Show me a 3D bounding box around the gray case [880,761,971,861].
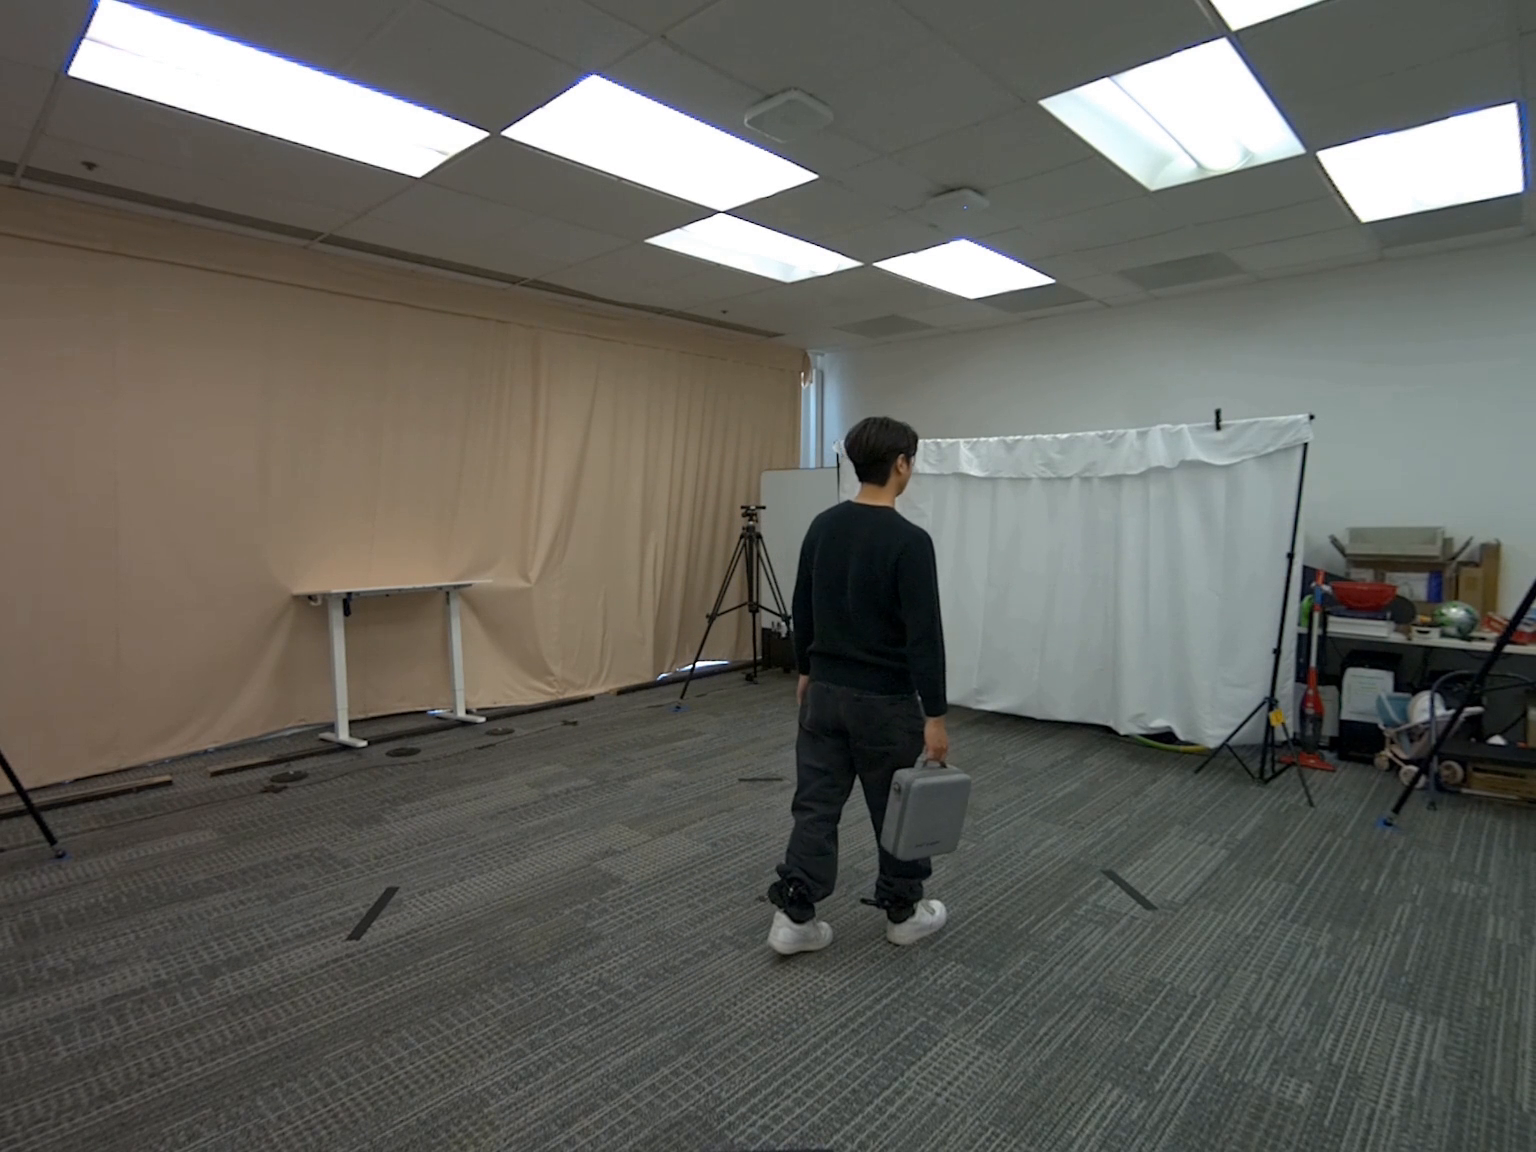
[{"bbox_3d":[0.469,0.689,2.497,0.249,0.260,0.108,4,8,-35],"label":"gray case"}]
